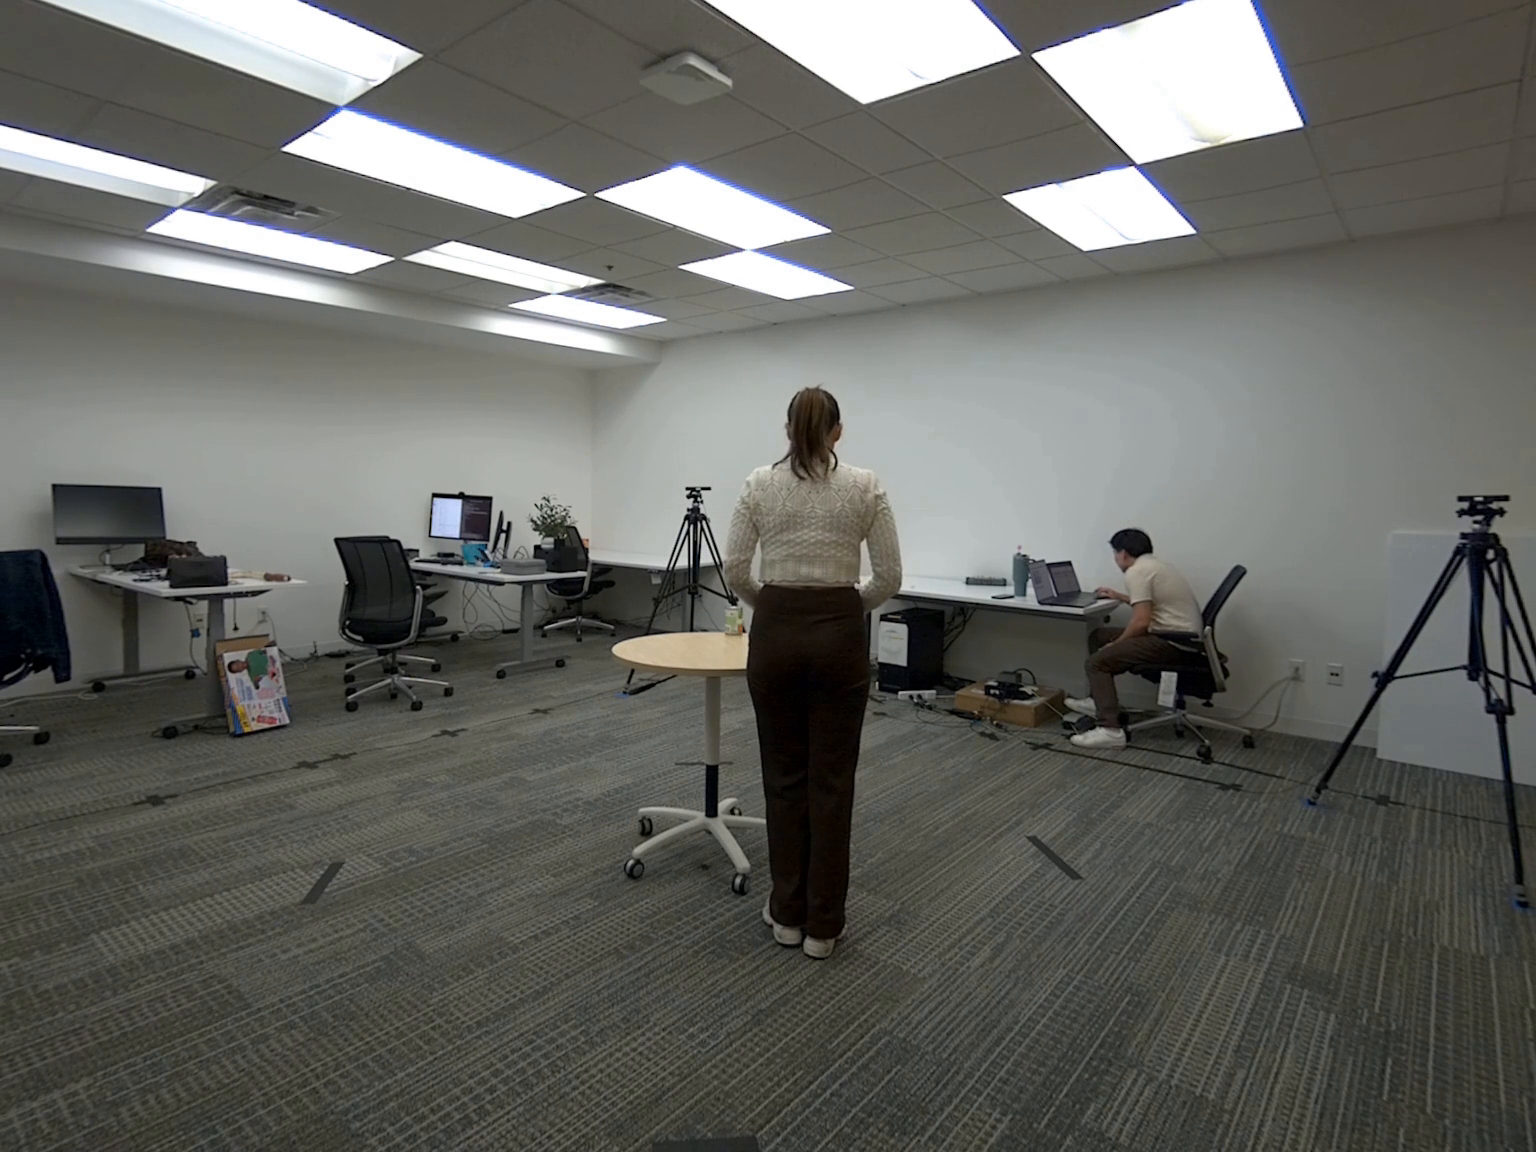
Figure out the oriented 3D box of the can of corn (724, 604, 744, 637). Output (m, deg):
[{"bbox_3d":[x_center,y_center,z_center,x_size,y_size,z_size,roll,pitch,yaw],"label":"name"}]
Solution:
[{"bbox_3d":[-0.156,0.183,3.549,0.074,0.111,0.074,3,1,-2],"label":"can of corn"}]
